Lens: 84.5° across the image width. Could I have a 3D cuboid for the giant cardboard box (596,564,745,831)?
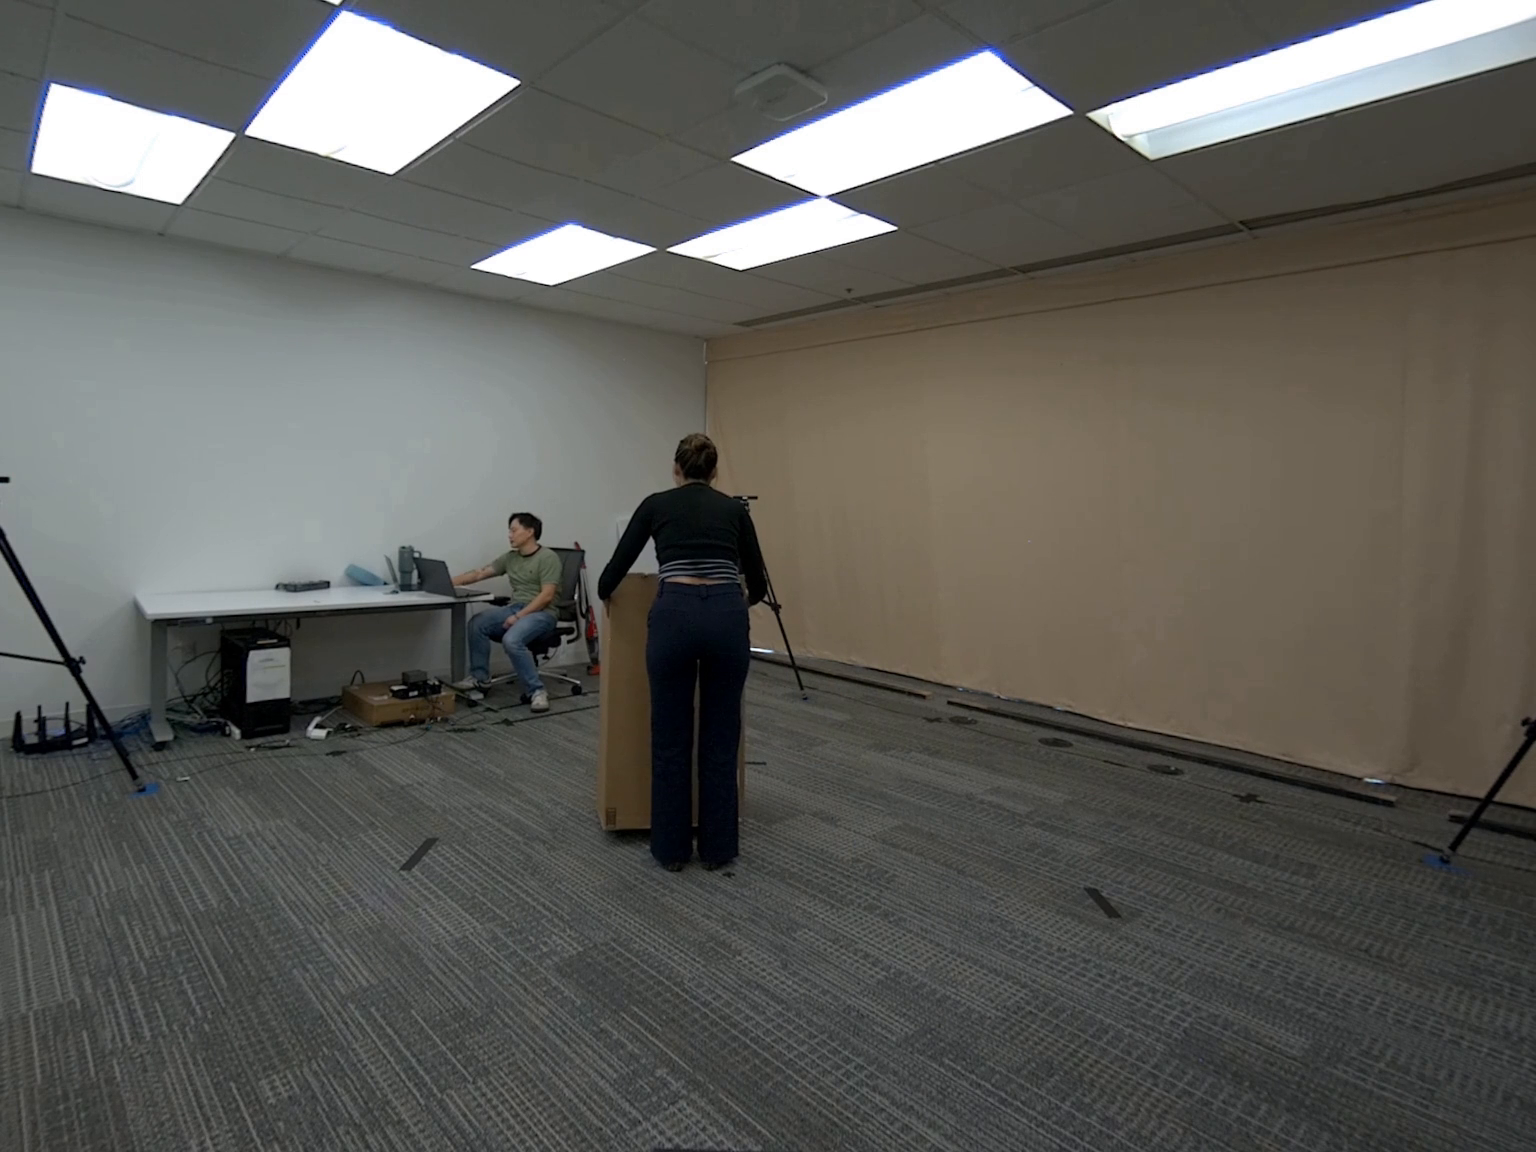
[{"bbox_3d":[-0.429,0.516,3.631,0.571,1.030,0.429,2,-5,-14],"label":"giant cardboard box"}]
